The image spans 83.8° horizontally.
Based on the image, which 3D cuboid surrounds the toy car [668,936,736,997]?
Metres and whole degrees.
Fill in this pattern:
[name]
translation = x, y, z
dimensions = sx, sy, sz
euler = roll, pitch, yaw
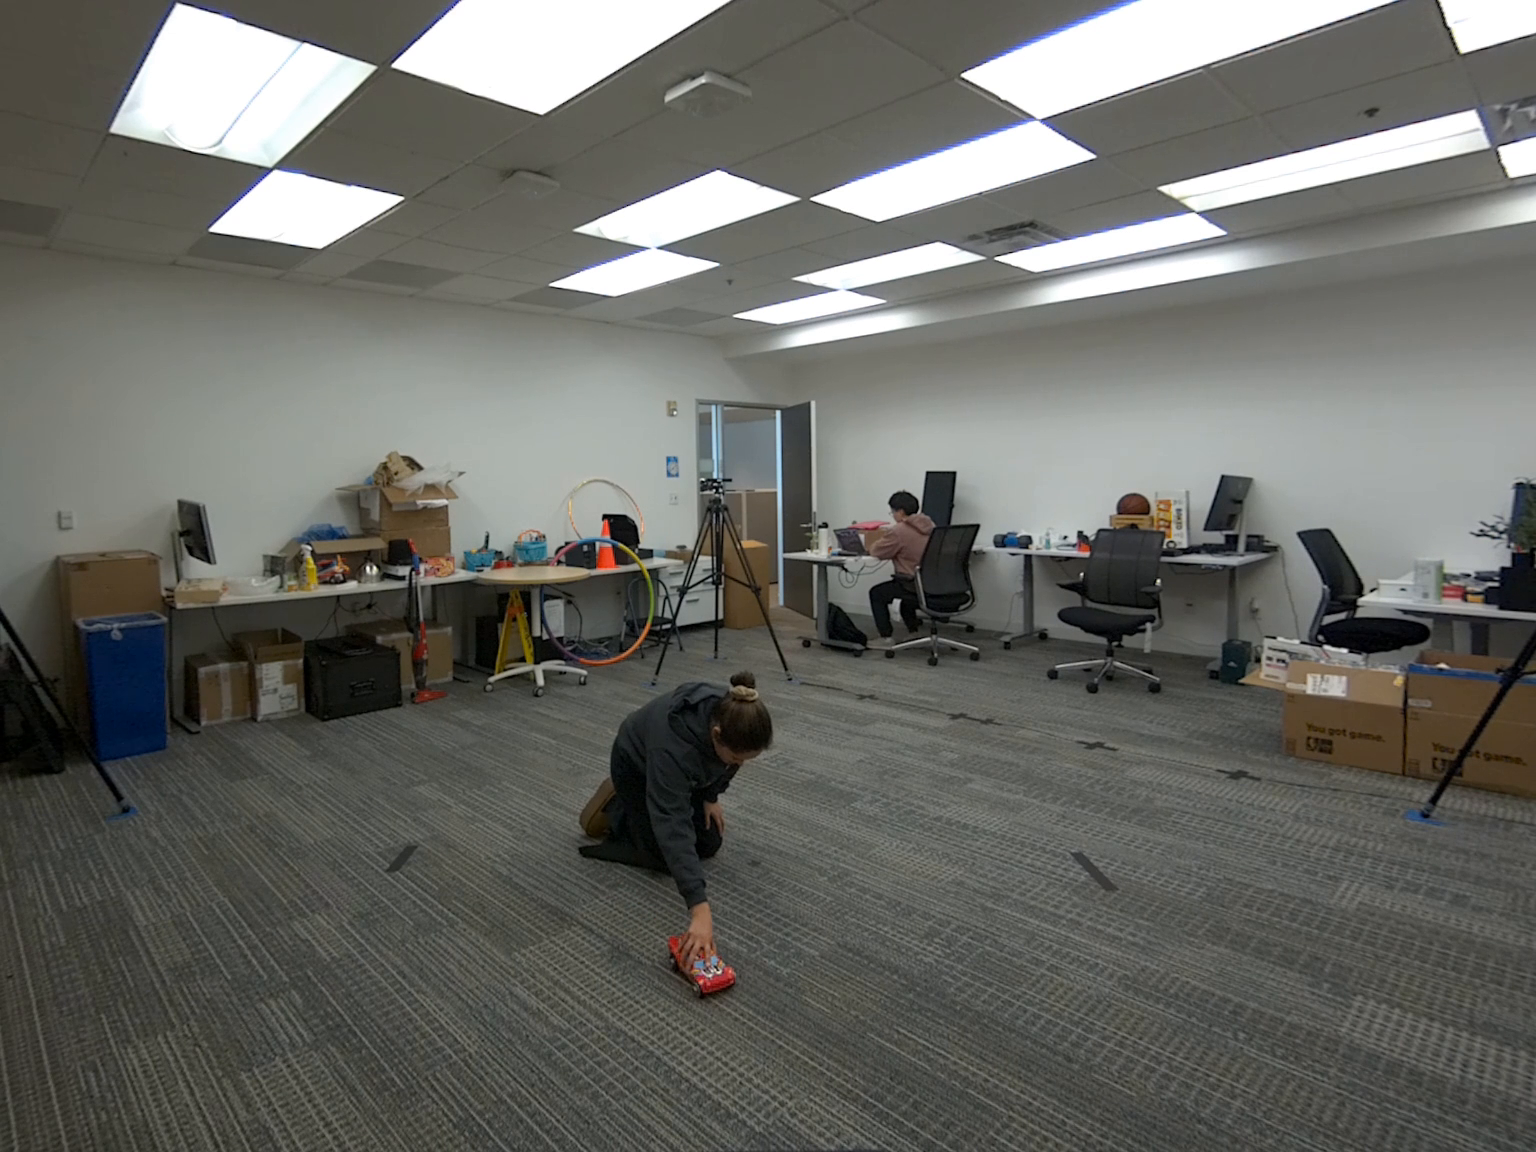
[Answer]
[toy car]
translation = -0.200, 1.099, 2.410
dimensions = 0.127, 0.082, 0.263
euler = -6, 18, -28
